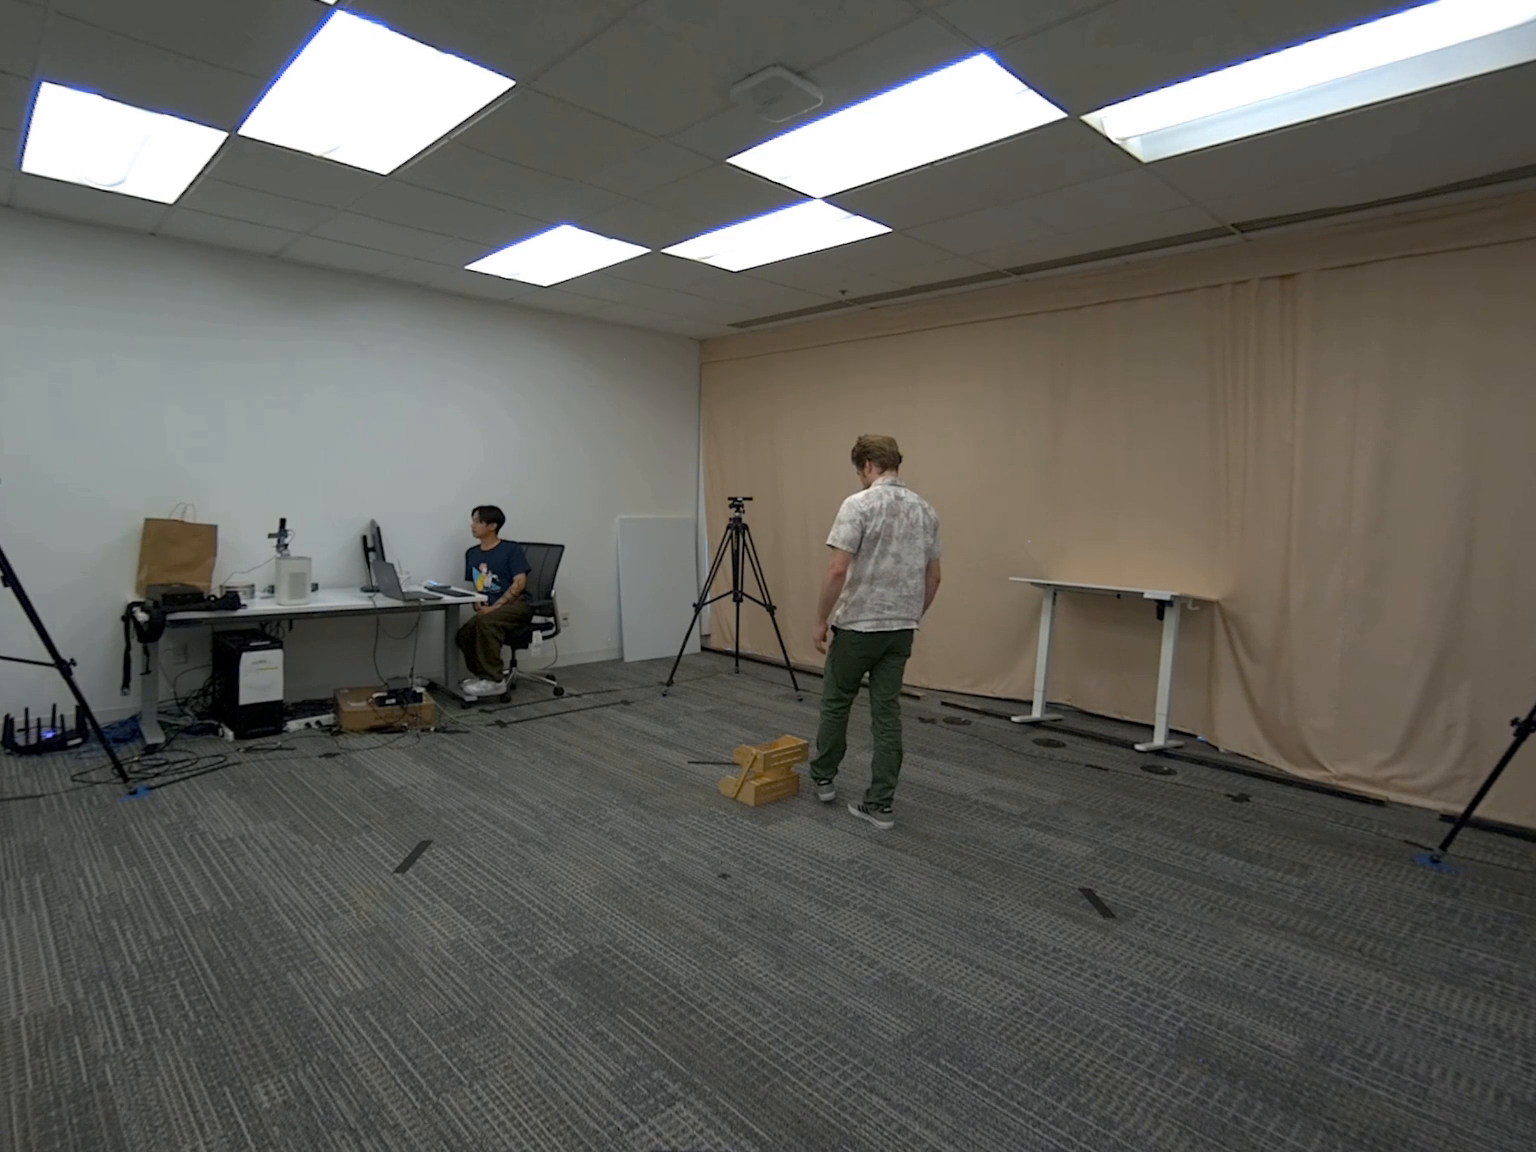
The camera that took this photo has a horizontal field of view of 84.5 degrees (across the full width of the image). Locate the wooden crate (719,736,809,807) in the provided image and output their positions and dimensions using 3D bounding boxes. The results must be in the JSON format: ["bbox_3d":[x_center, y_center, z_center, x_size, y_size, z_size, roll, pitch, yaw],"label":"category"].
[{"bbox_3d":[-0.033,0.900,3.999,0.317,0.272,0.310,-2,6,-45],"label":"wooden crate"}]
